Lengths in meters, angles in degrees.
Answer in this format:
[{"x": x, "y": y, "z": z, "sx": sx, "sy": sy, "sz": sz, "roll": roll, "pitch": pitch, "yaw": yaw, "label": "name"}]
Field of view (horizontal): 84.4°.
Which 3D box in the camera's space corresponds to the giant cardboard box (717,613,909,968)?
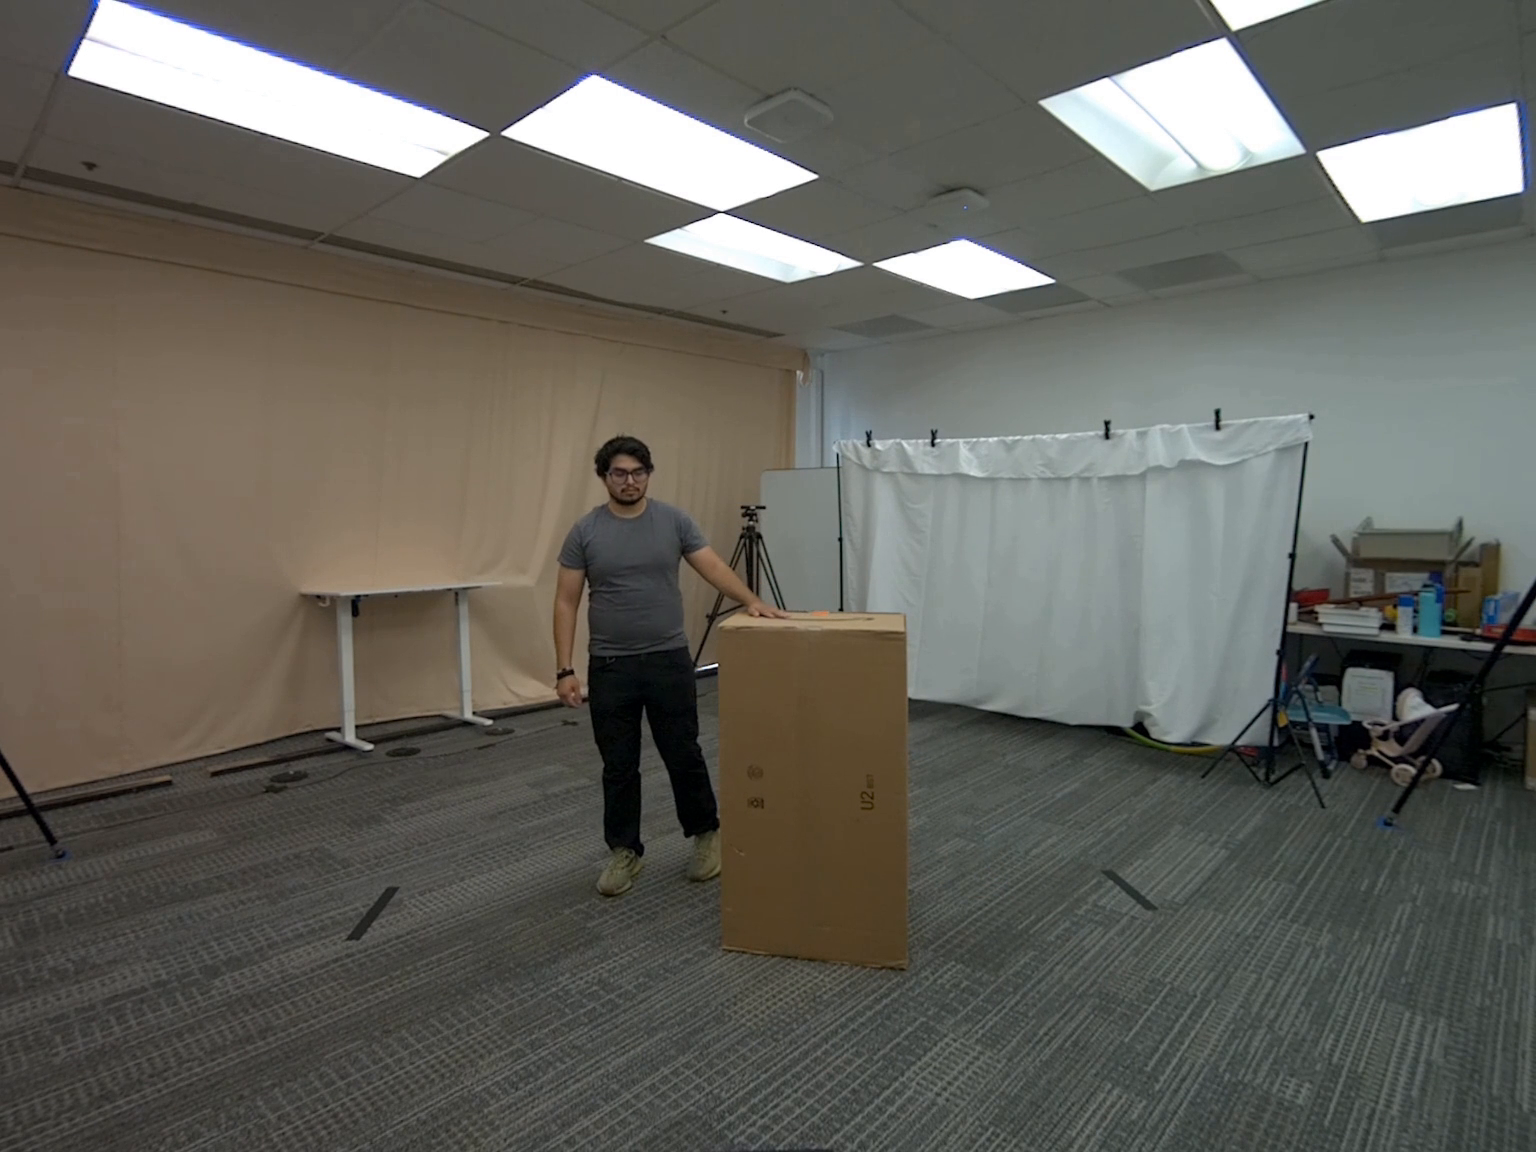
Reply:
[{"x": 0.168, "y": 0.651, "z": 2.762, "sx": 0.585, "sy": 1.024, "sz": 0.421, "roll": 0, "pitch": 3, "yaw": 12, "label": "giant cardboard box"}]
